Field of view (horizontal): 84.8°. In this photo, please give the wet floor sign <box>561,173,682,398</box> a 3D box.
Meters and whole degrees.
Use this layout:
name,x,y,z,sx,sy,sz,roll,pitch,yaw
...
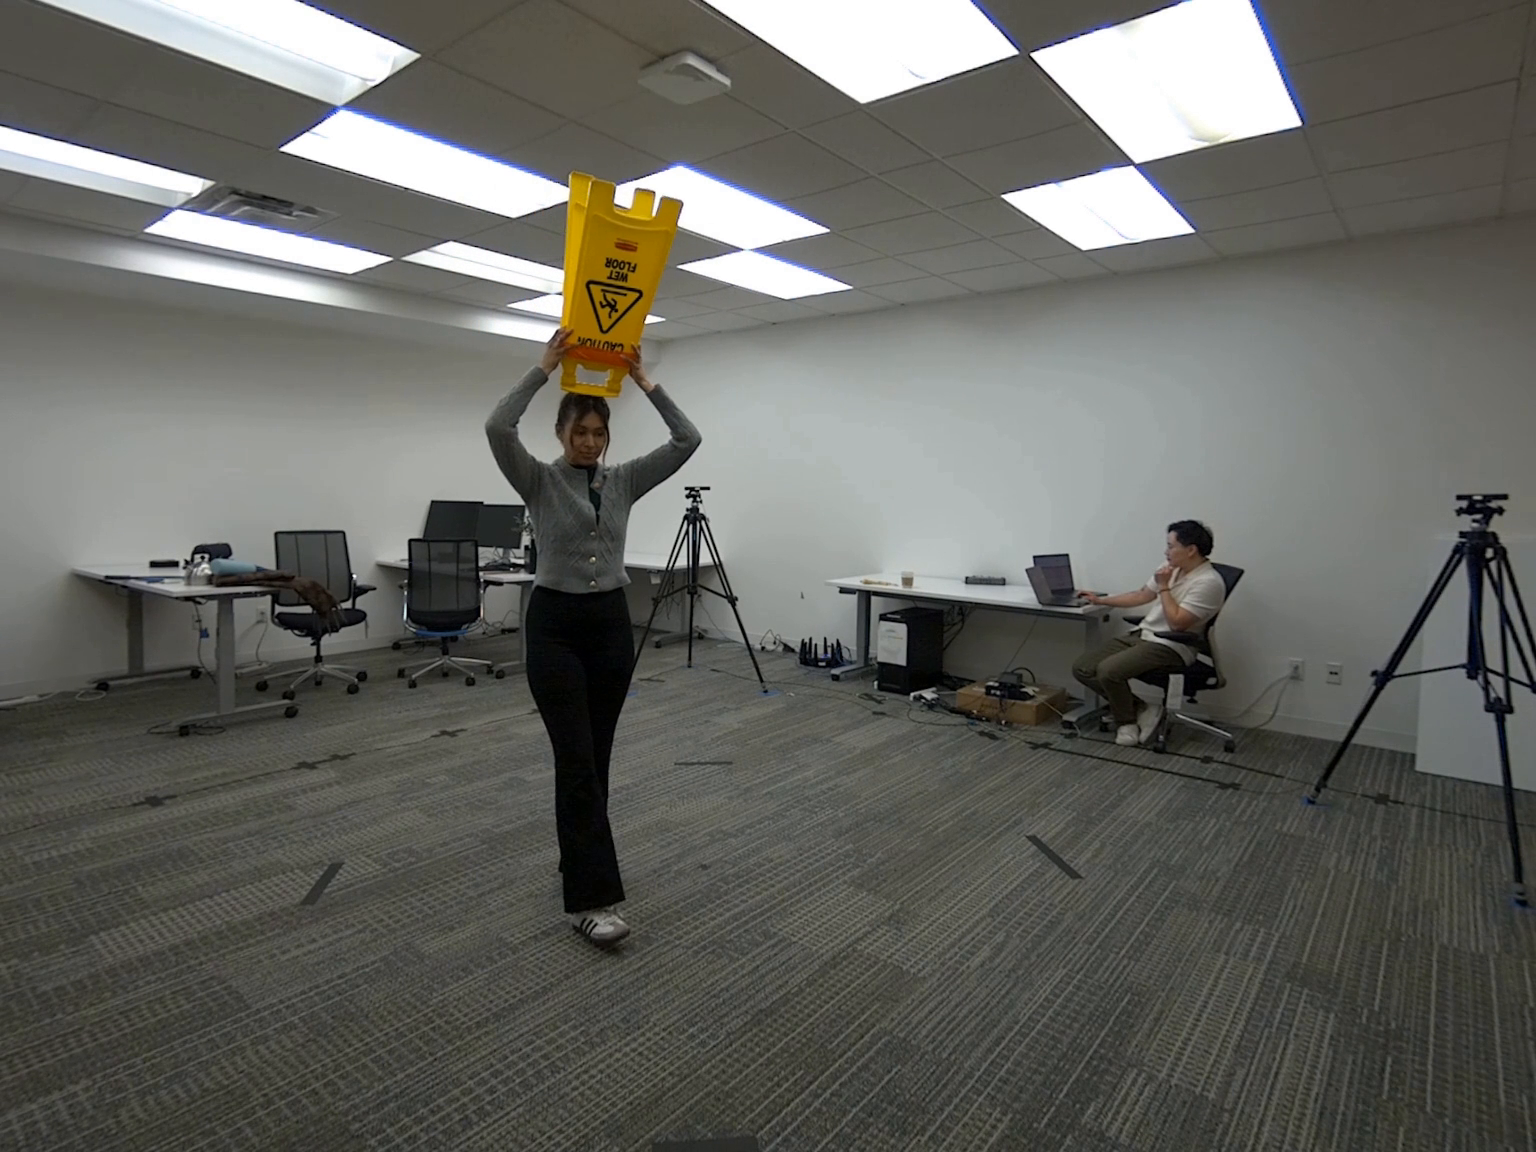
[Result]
name,x,y,z,sx,sy,sz,roll,pitch,yaw
wet floor sign,-0.512,-0.874,2.639,0.275,0.637,0.301,4,26,-26
